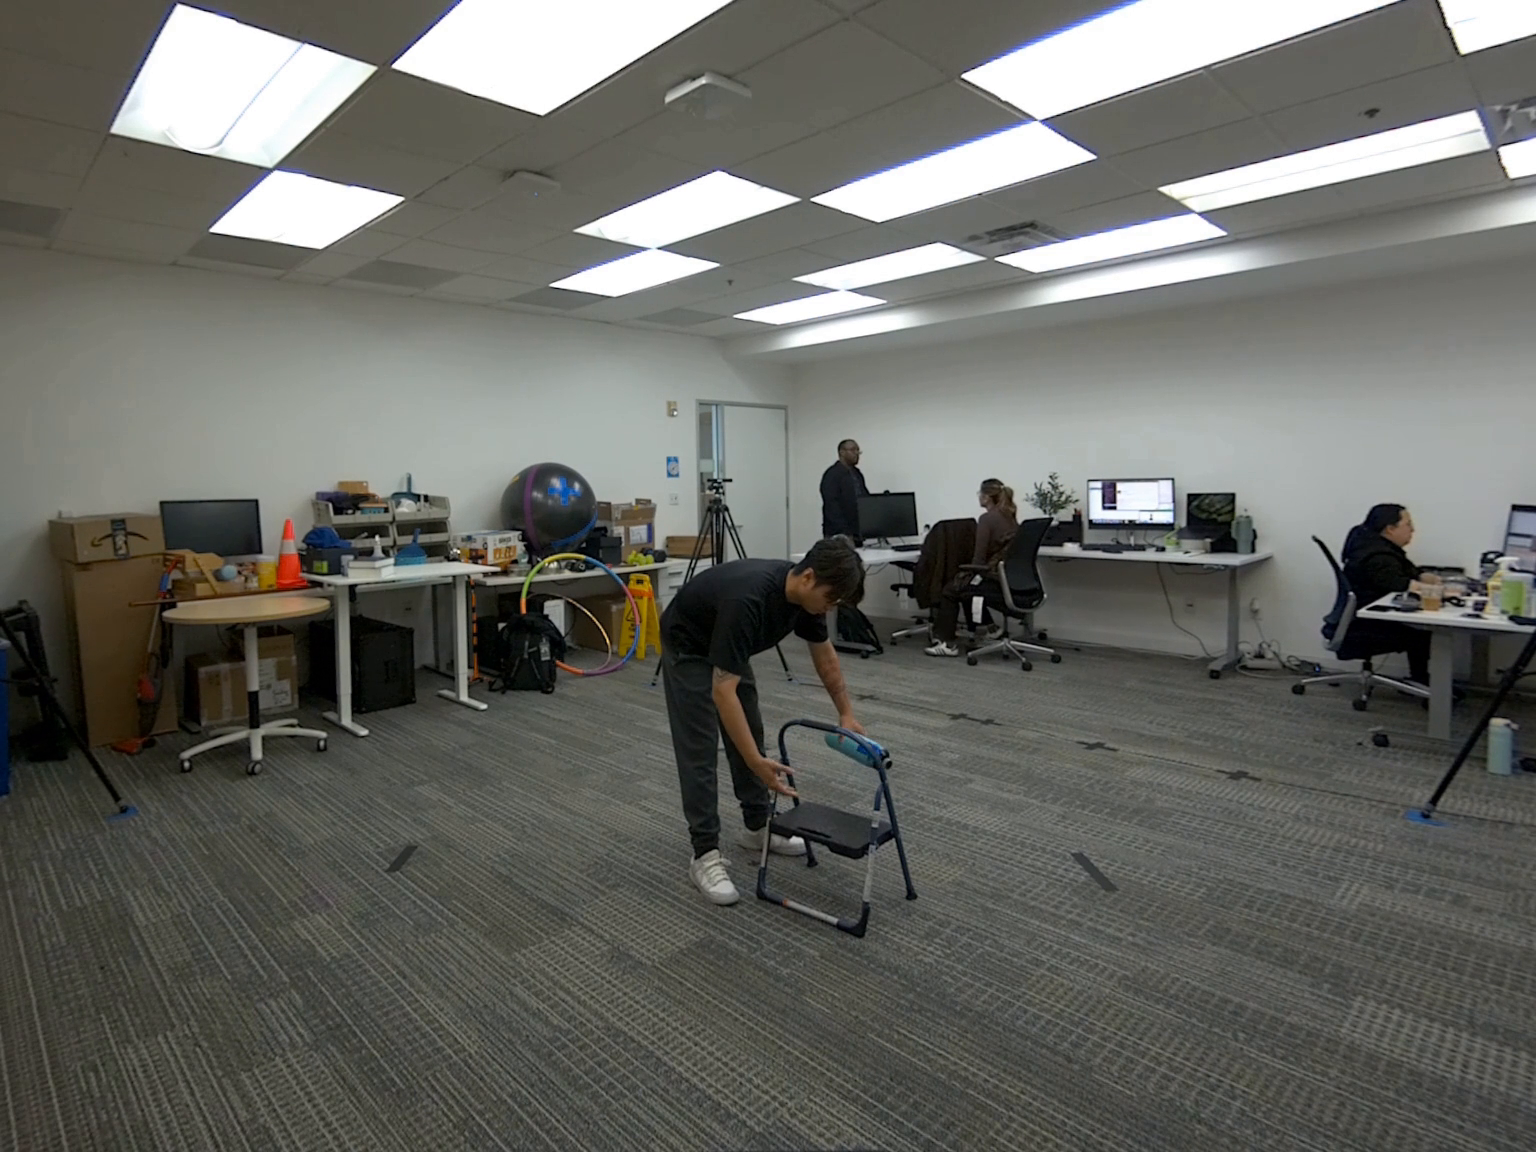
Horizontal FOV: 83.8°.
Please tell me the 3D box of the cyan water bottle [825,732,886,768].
[{"bbox_3d":[0.319,0.599,3.022,0.090,0.091,0.293,-4,12,-32],"label":"cyan water bottle"}]
